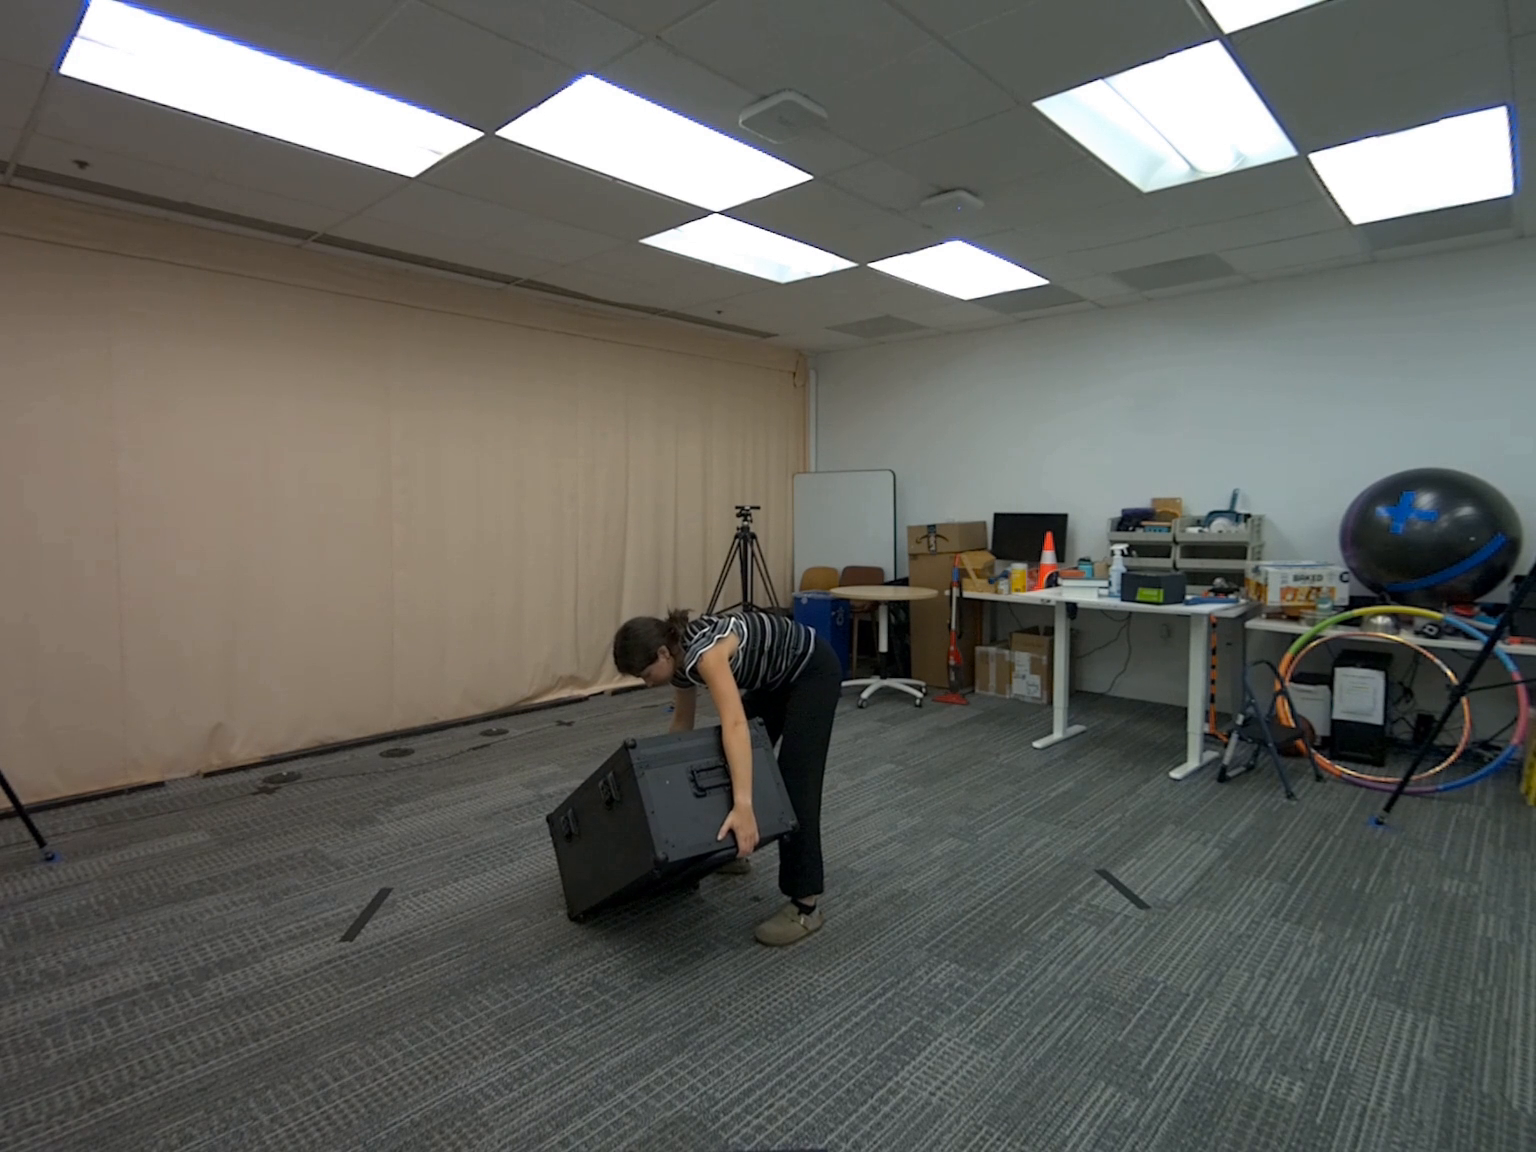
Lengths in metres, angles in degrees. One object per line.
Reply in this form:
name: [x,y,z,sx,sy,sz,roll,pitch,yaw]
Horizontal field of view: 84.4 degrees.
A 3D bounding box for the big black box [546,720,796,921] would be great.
big black box: [-0.360,0.834,2.764,0.506,0.404,0.869,-2,-27,-34]
